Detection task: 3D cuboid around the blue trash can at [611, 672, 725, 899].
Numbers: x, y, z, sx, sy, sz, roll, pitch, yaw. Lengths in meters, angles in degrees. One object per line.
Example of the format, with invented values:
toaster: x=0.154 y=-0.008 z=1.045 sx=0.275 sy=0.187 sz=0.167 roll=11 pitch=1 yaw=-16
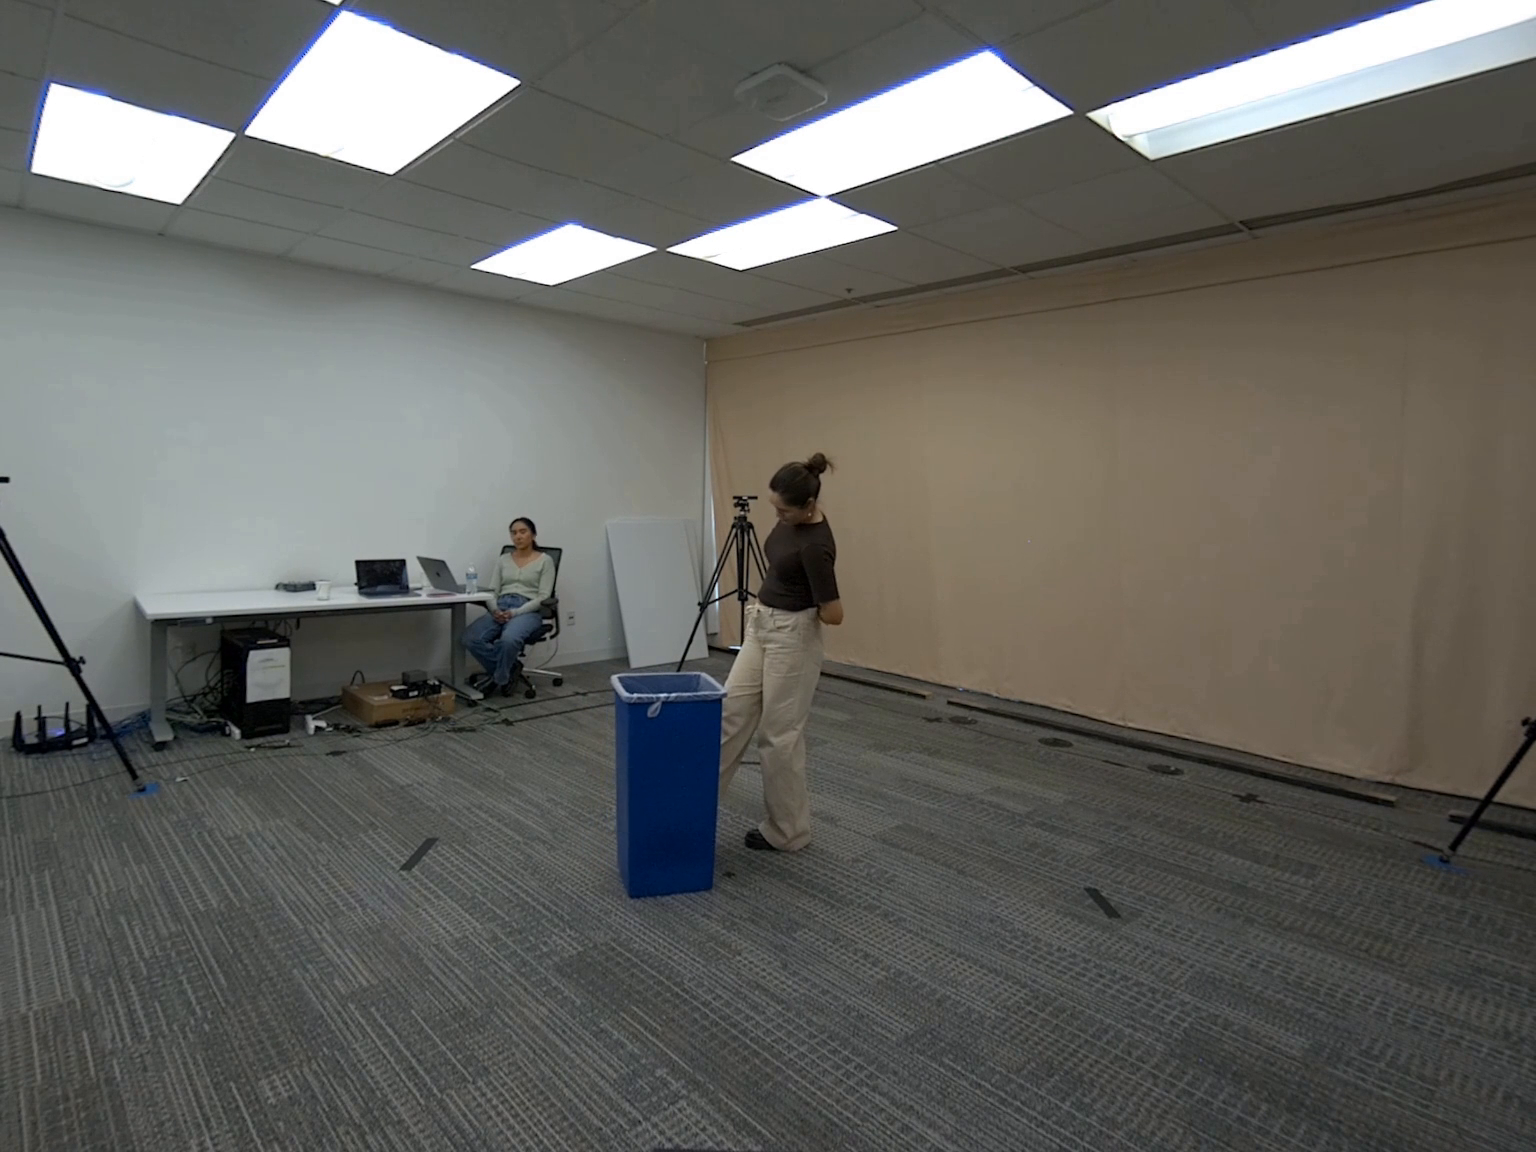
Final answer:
blue trash can: x=-0.379 y=0.741 z=3.067 sx=0.369 sy=0.712 sz=0.384 roll=0 pitch=4 yaw=-18
